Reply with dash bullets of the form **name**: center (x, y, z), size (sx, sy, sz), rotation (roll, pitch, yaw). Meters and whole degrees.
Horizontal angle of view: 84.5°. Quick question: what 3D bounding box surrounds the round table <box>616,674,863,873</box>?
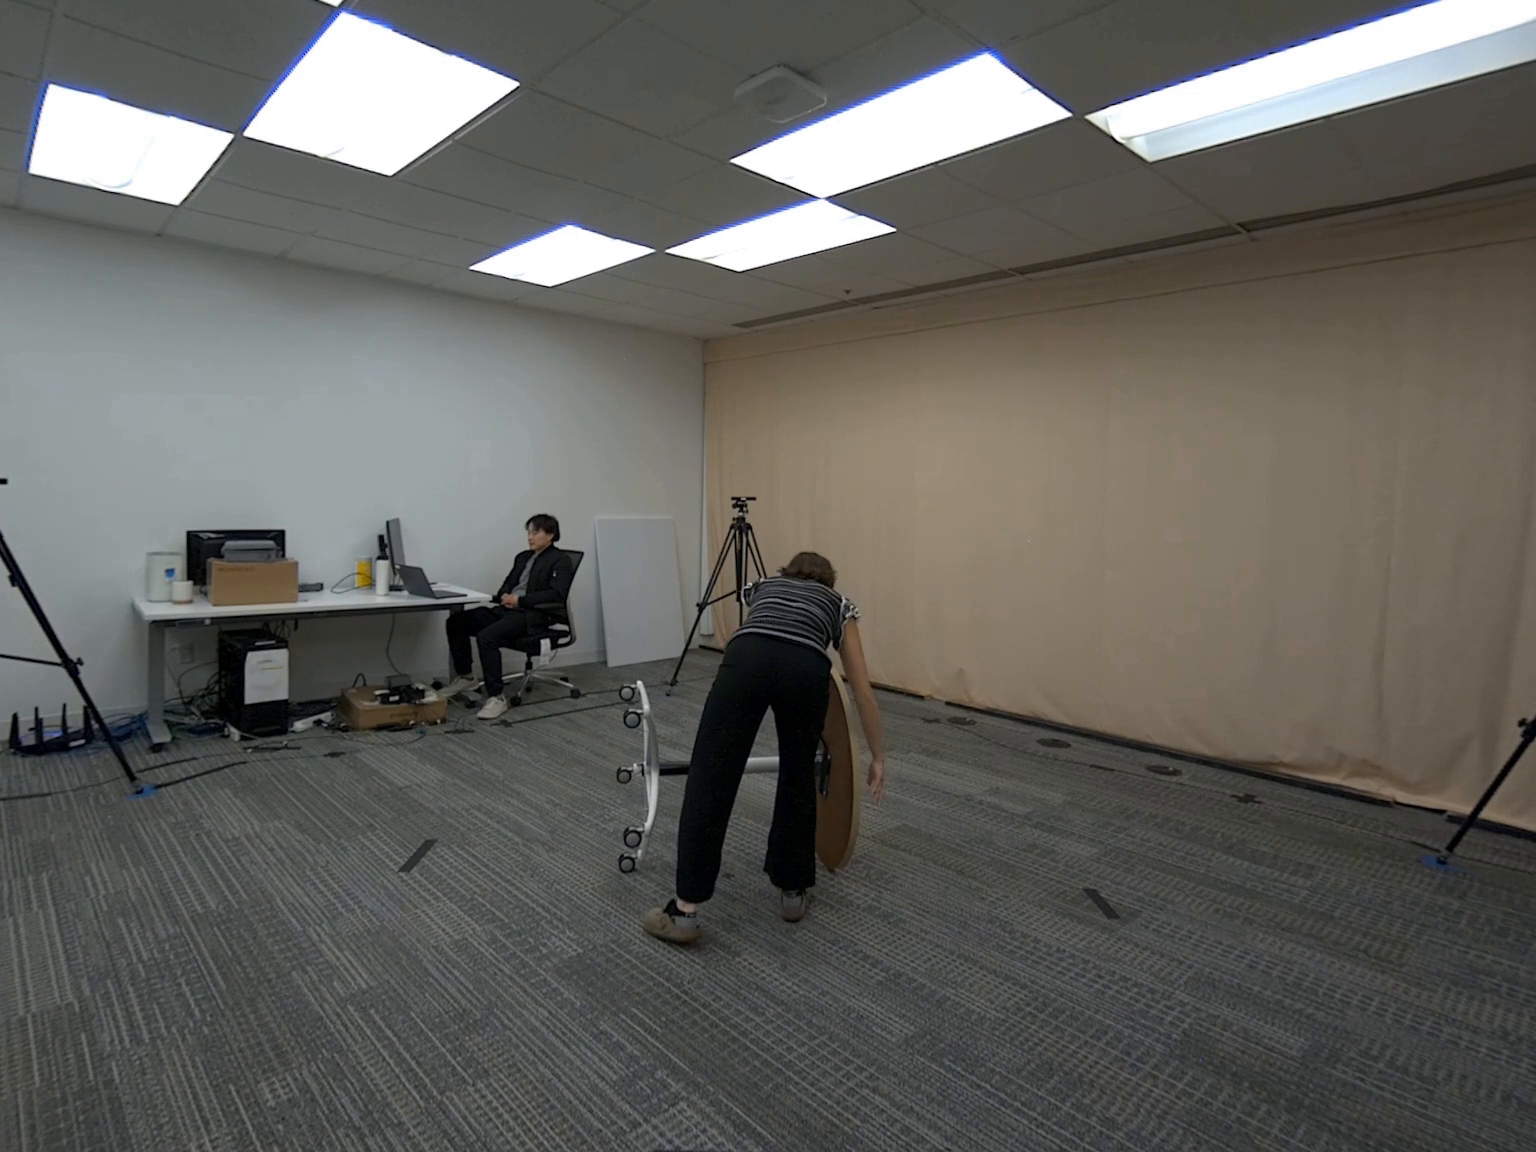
- **round table**: center (-0.169, 0.727, 3.189), size (0.787, 0.761, 0.773), rotation (-1, 5, -11)
